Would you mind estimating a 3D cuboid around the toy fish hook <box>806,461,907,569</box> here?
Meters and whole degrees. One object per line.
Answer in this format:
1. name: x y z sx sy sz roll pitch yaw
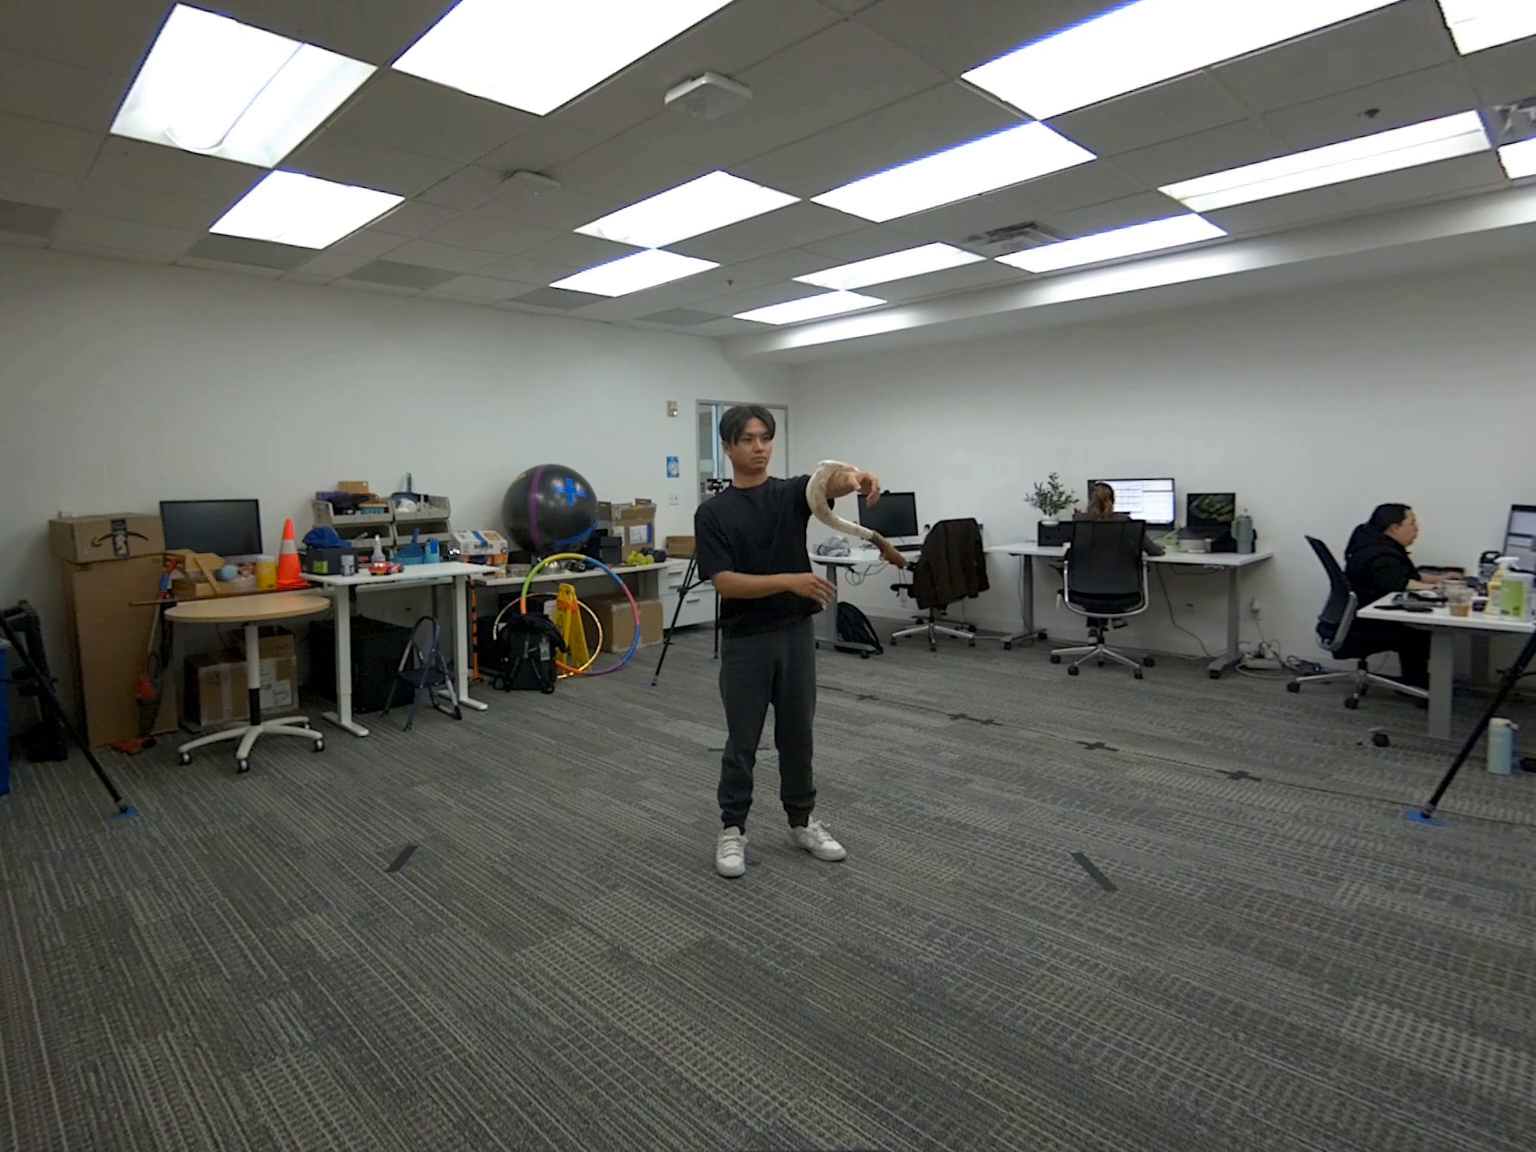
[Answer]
1. toy fish hook: 0.317 -0.198 2.869 0.490 0.225 0.050 37 -10 -28
